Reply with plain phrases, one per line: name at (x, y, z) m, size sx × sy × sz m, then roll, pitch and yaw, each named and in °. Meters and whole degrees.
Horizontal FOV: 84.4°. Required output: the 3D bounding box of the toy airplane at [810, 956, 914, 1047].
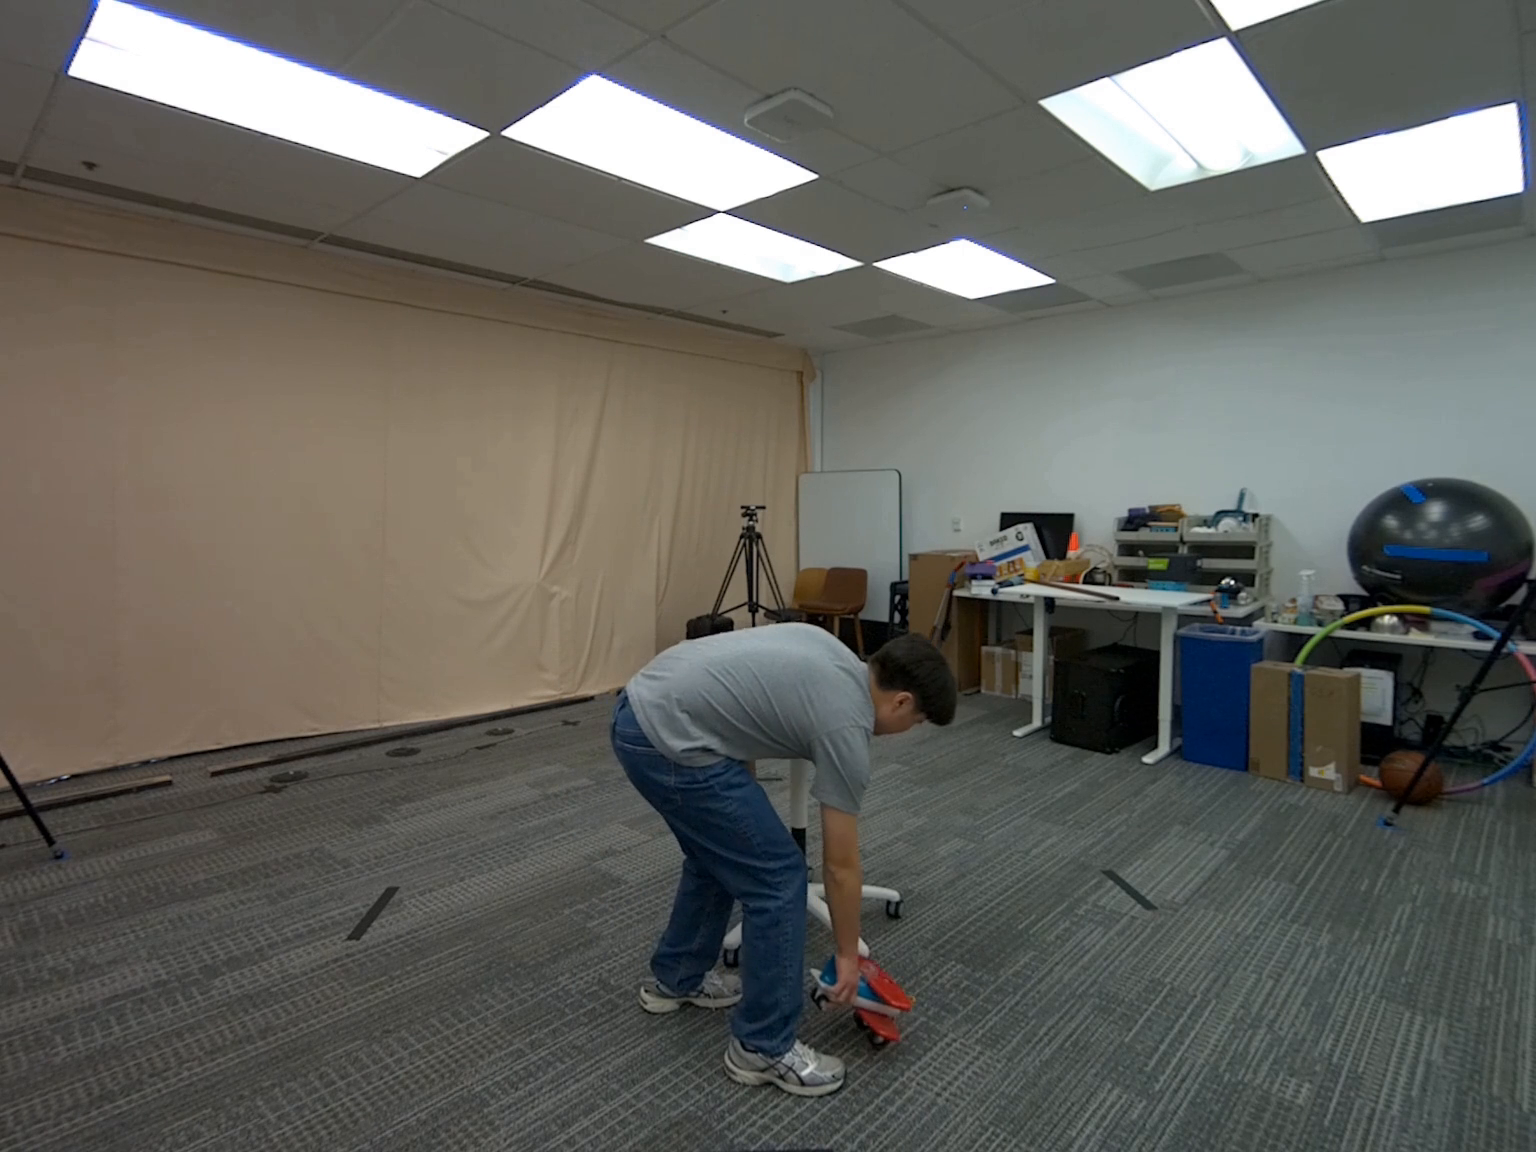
toy airplane at (0.245, 1.103, 2.166) m, size 0.260 × 0.156 × 0.250 m, roll 27°, pitch -13°, yaw 44°
